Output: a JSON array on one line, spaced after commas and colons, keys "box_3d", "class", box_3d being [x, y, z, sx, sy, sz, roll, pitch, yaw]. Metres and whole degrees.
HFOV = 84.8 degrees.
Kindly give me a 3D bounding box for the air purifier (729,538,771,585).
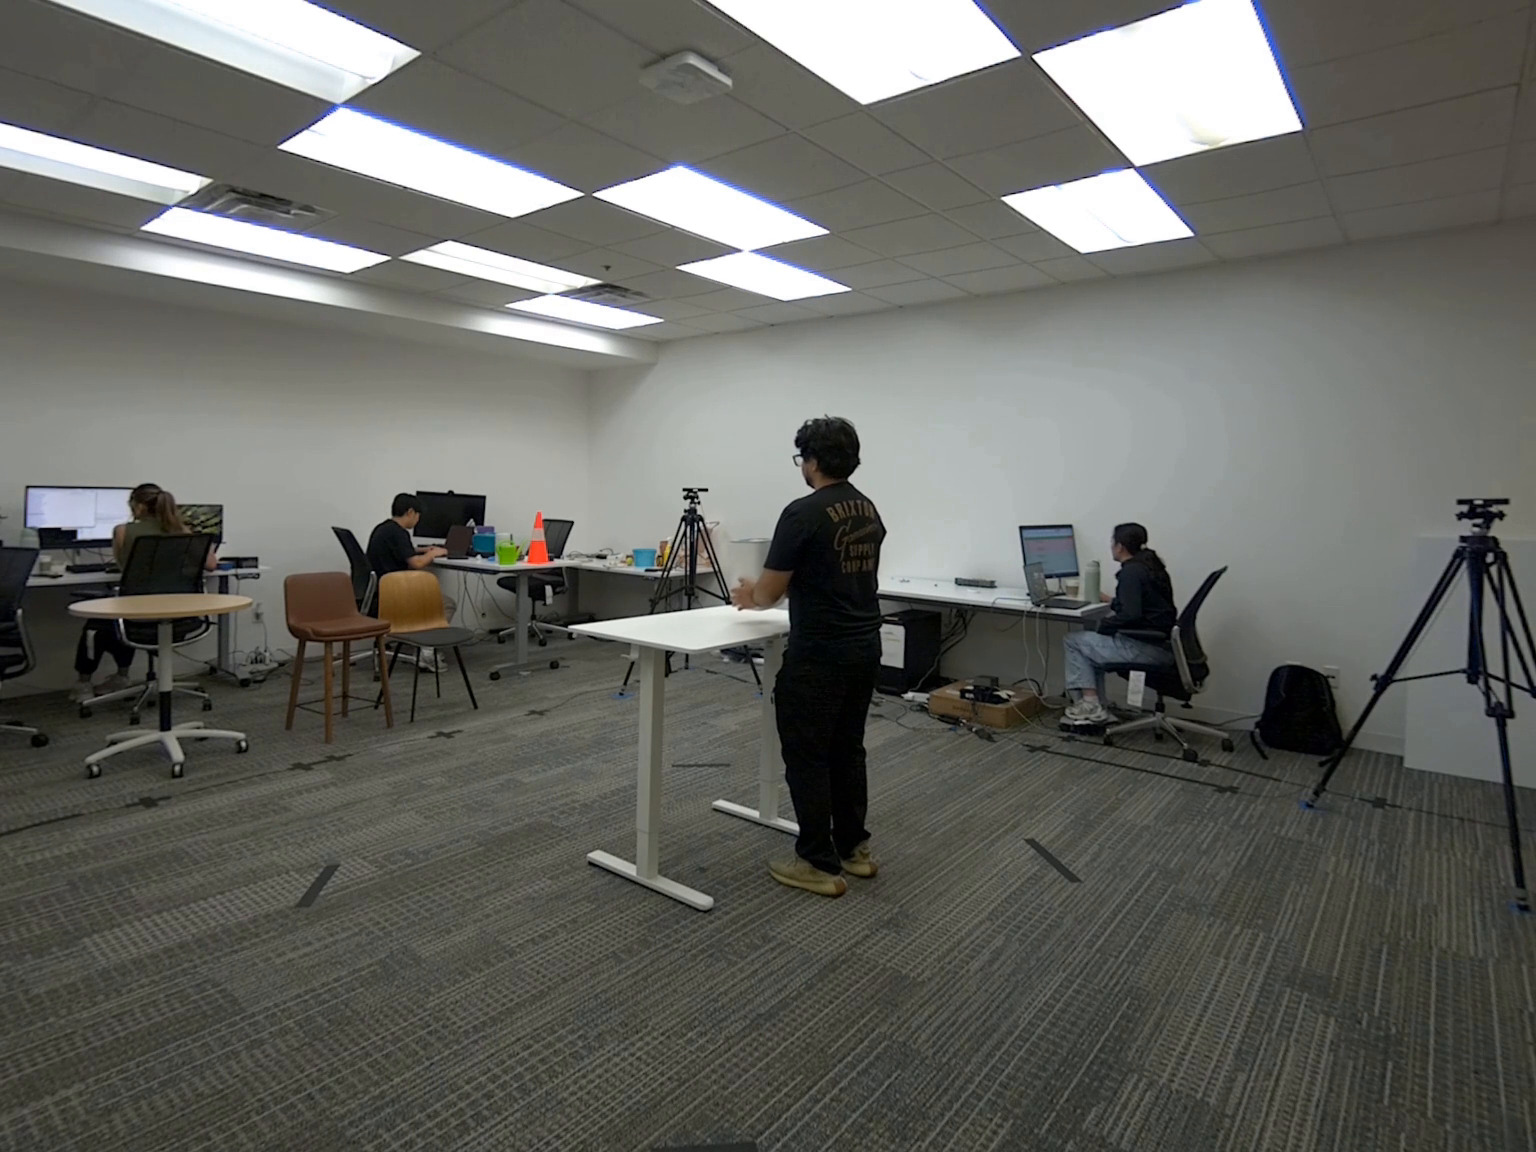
[{"box_3d": [-0.047, -0.013, 3.271, 0.176, 0.265, 0.167, 1, 4, 41], "class": "air purifier"}]
